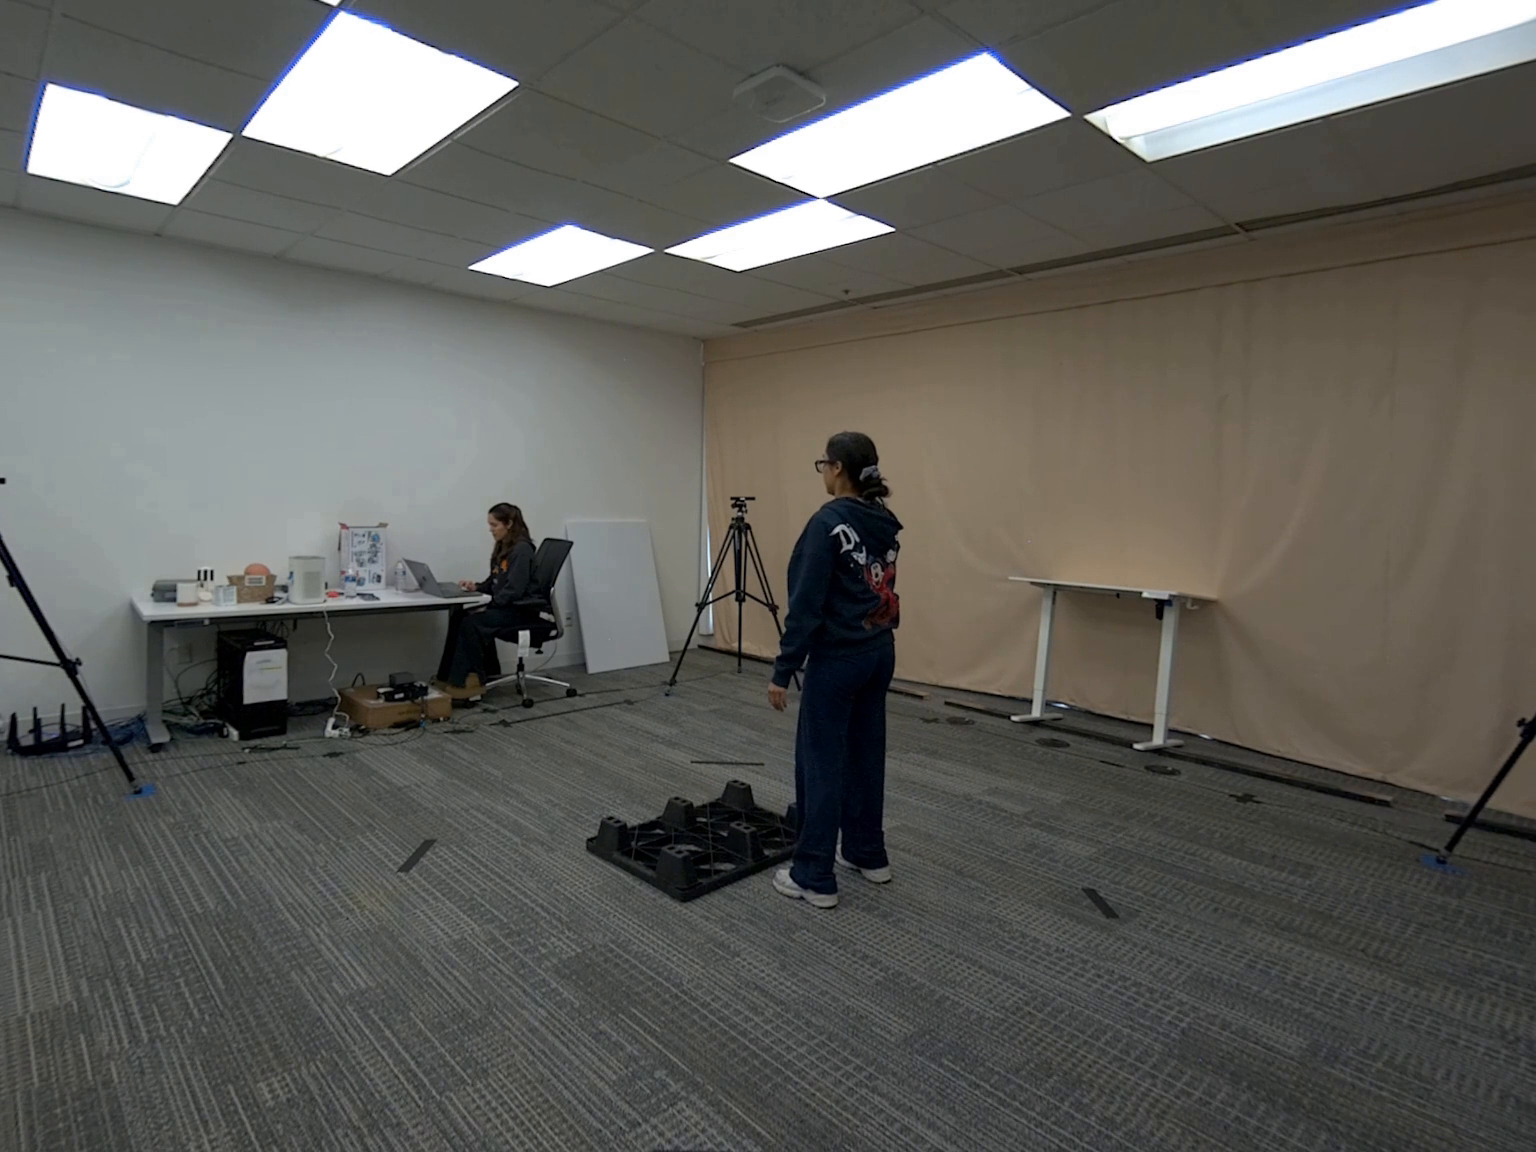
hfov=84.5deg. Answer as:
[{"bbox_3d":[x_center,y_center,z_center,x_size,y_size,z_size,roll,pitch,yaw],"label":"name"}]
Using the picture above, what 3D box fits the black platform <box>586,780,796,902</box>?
[{"bbox_3d":[-0.240,1.017,3.374,0.621,0.143,0.787,7,7,44],"label":"black platform"}]
